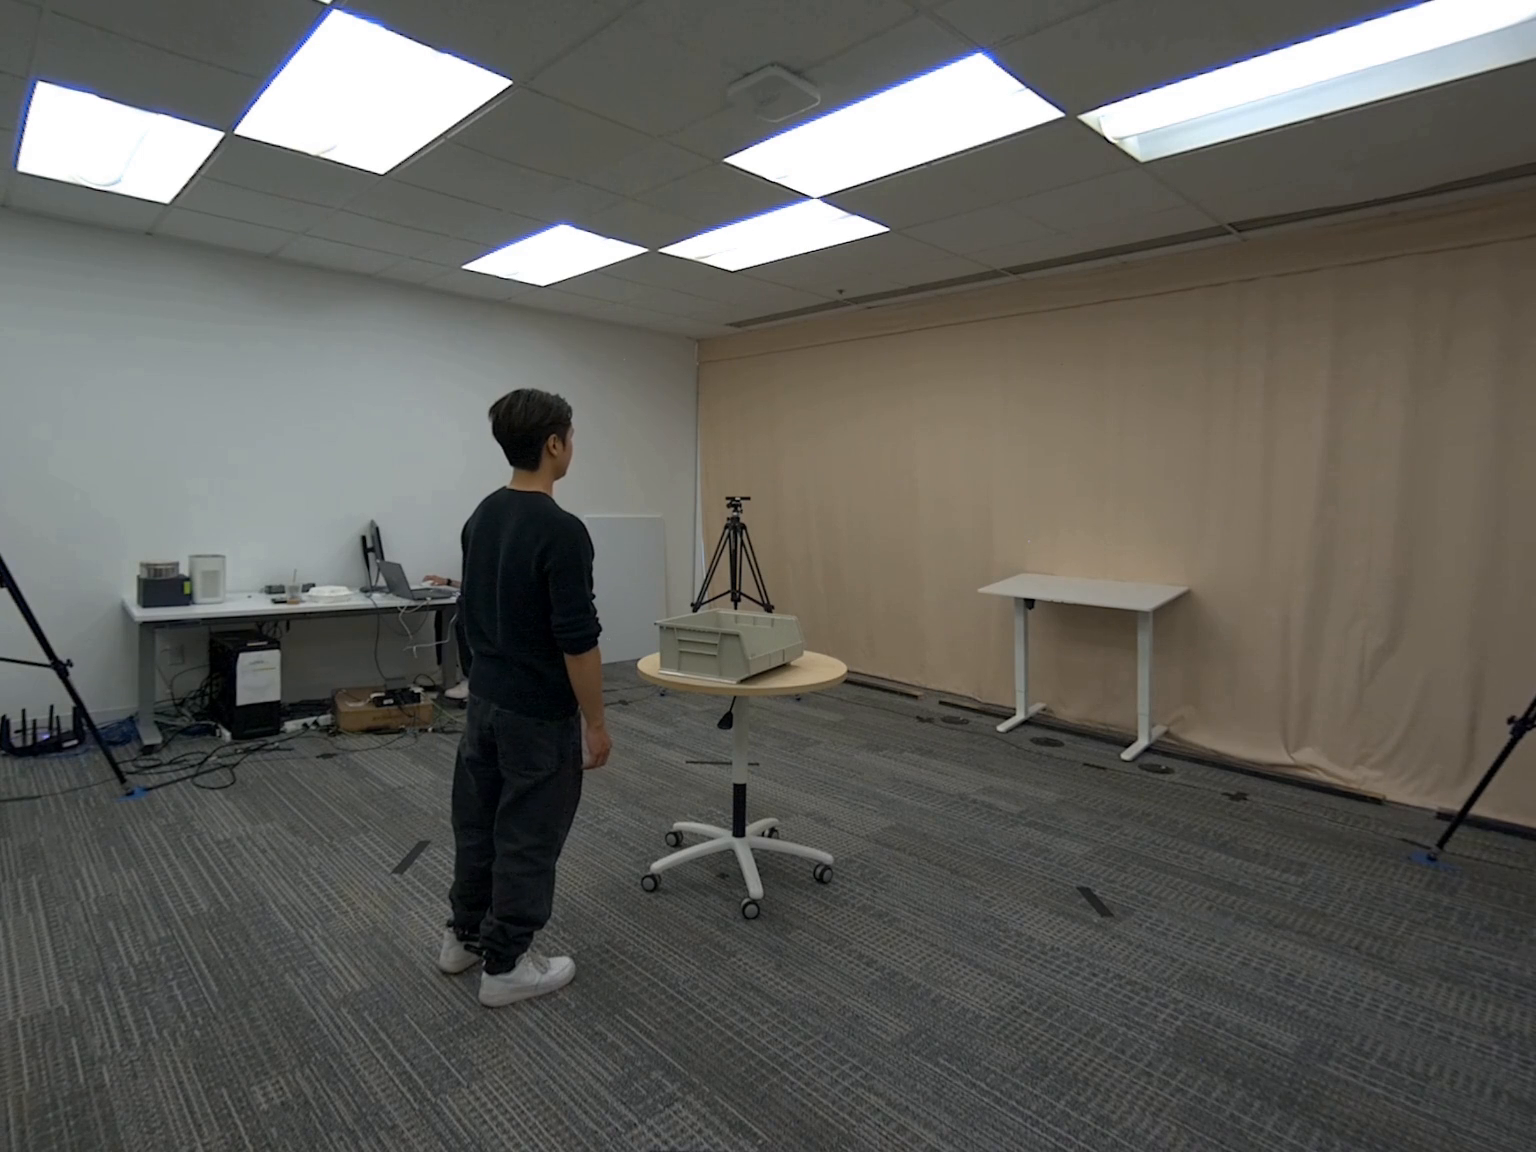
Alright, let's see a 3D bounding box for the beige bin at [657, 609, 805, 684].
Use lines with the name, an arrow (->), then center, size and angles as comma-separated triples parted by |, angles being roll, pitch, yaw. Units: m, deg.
beige bin -> -0.139, 0.243, 2.988 | 0.385, 0.188, 0.415 | 2, 6, 29
